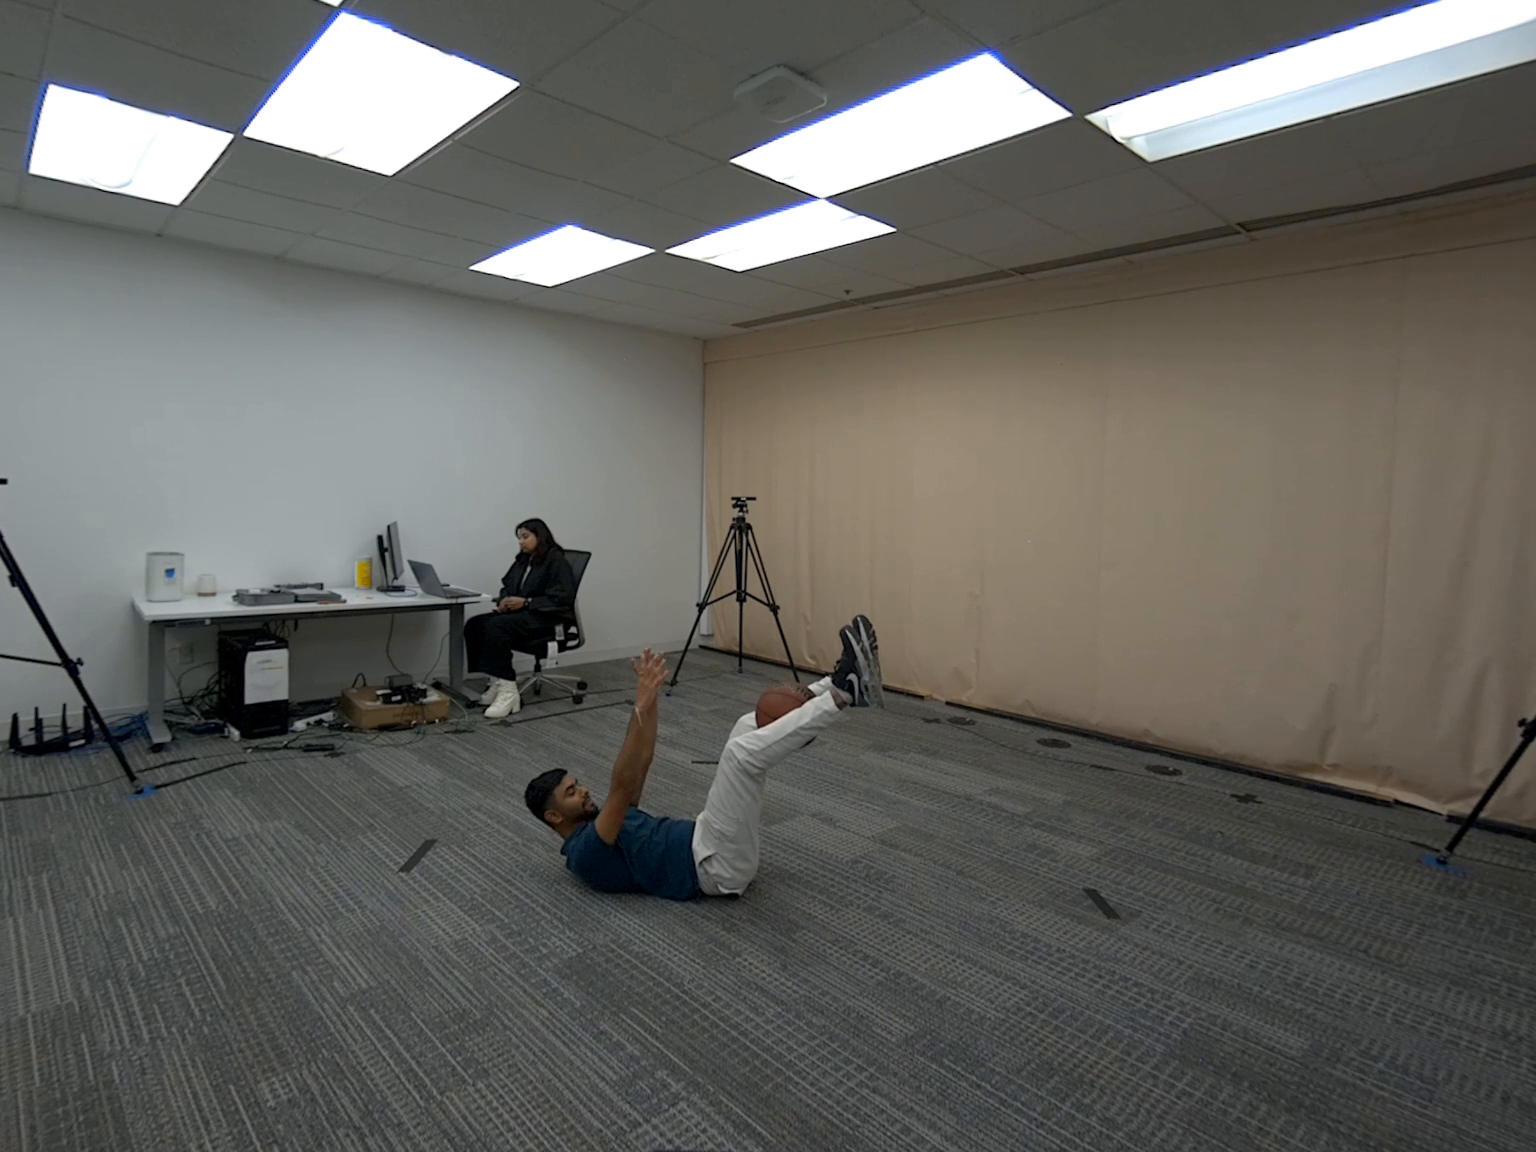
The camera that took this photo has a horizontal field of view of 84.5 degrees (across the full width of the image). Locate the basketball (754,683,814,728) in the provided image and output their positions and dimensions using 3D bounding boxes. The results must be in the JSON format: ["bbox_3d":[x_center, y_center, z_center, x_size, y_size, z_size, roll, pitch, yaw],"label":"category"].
[{"bbox_3d":[0.069,0.494,2.964,0.236,0.235,0.237,1,4,-1],"label":"basketball"}]
